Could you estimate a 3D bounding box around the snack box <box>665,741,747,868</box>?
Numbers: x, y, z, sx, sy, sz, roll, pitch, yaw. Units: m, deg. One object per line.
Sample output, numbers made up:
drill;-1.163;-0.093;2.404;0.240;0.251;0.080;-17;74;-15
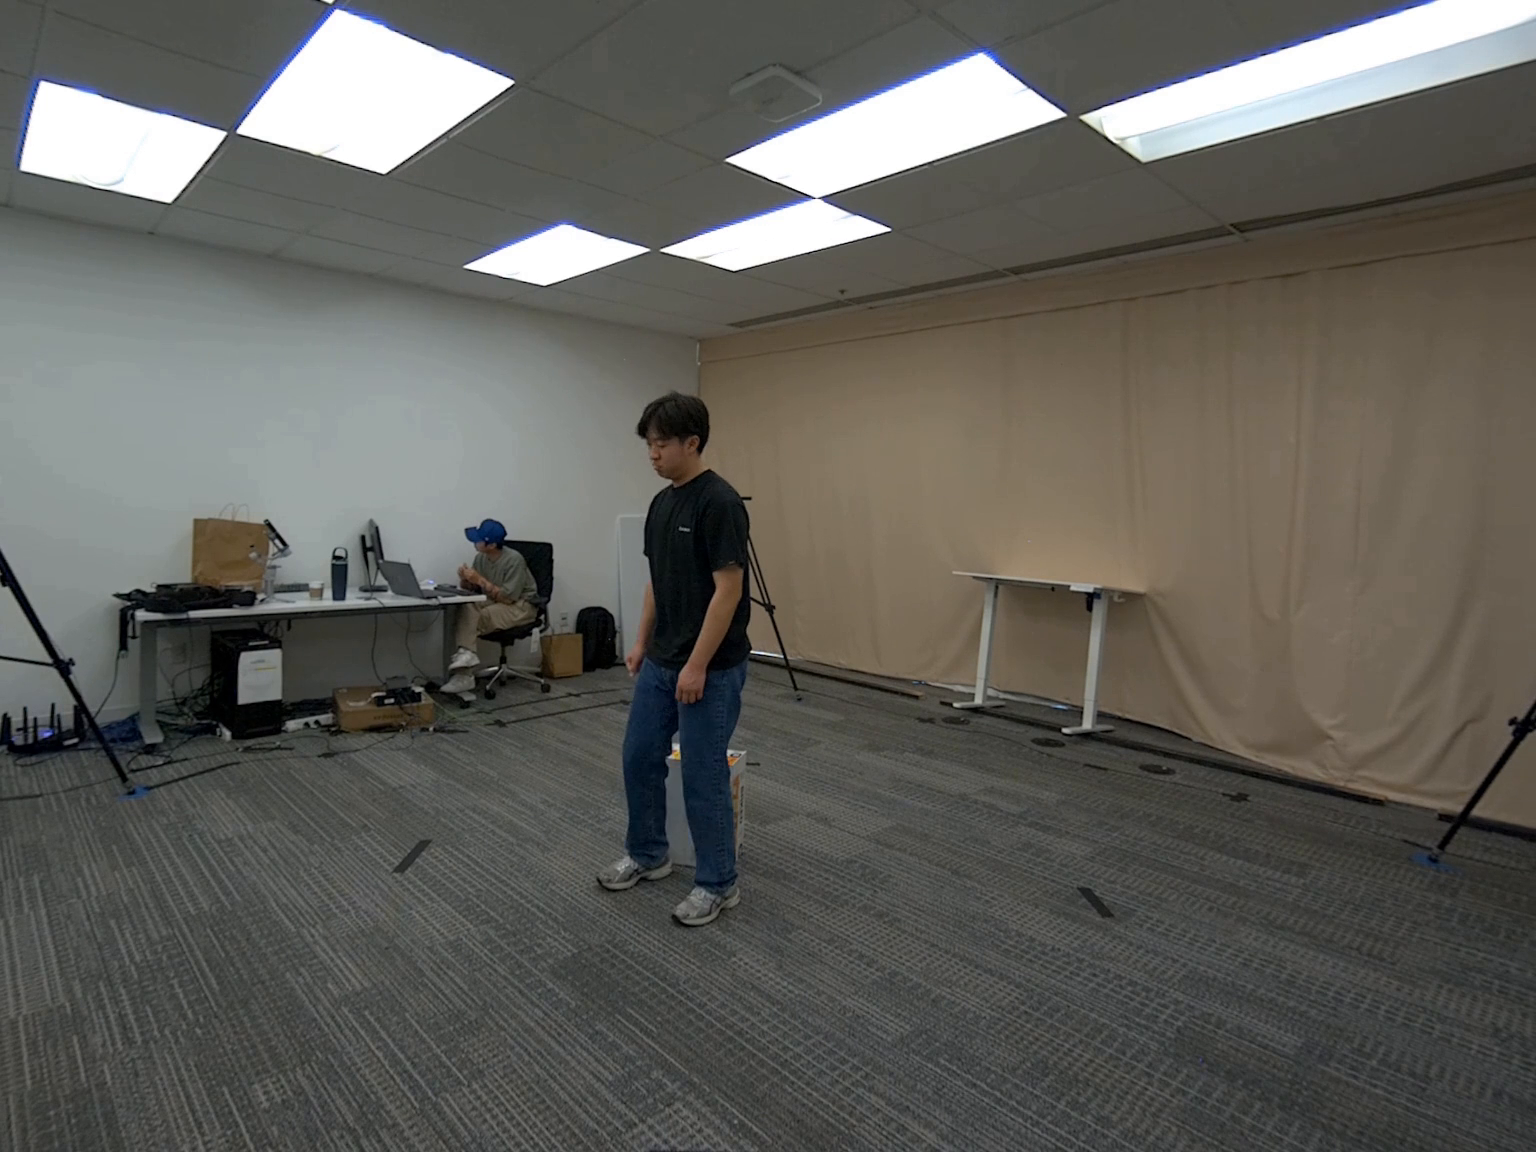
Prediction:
snack box;-0.281;0.889;3.257;0.345;0.404;0.203;3;3;16
